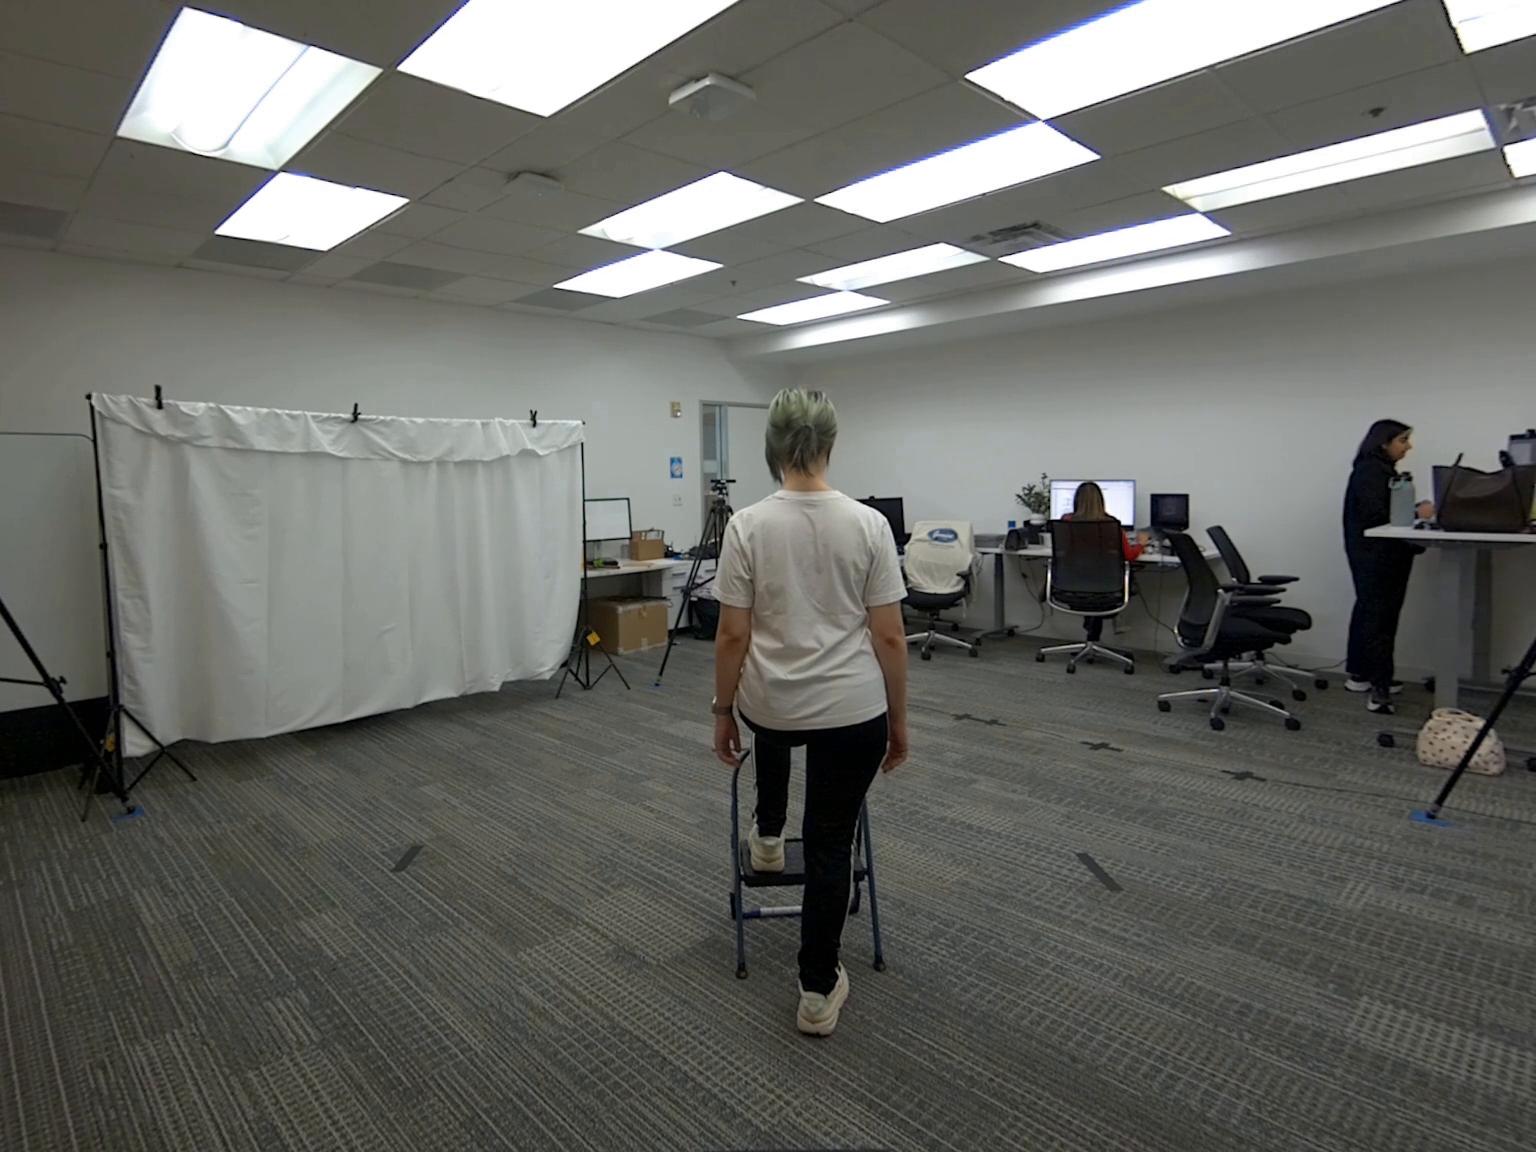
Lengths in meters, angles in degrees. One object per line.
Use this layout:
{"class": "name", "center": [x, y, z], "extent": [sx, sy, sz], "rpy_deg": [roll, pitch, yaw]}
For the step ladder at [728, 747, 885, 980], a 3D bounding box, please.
{"class": "step ladder", "center": [0.106, 0.813, 2.564], "extent": [0.429, 0.604, 0.352], "rpy_deg": [-1, 4, -5]}
